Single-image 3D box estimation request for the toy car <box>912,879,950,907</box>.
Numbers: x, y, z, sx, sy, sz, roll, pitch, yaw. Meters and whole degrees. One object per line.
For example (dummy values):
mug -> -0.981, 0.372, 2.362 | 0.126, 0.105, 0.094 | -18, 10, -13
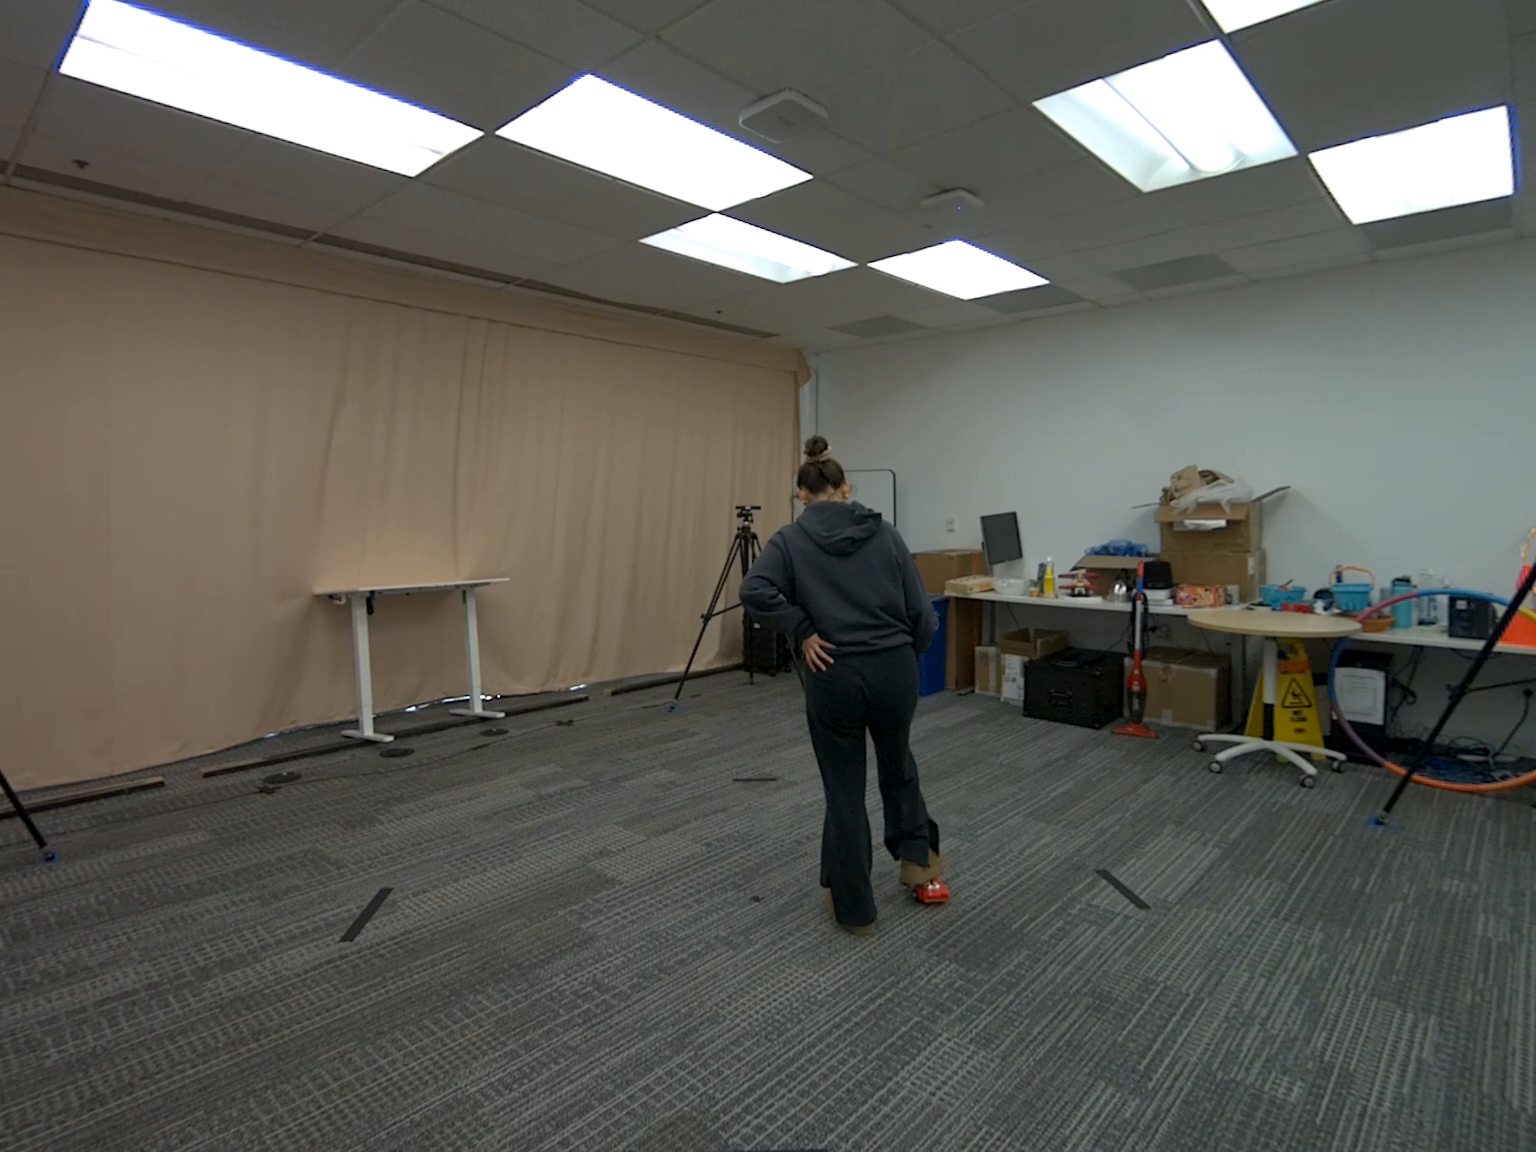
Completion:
toy car -> 0.592, 1.102, 3.007 | 0.129, 0.083, 0.255 | -3, -6, -9
